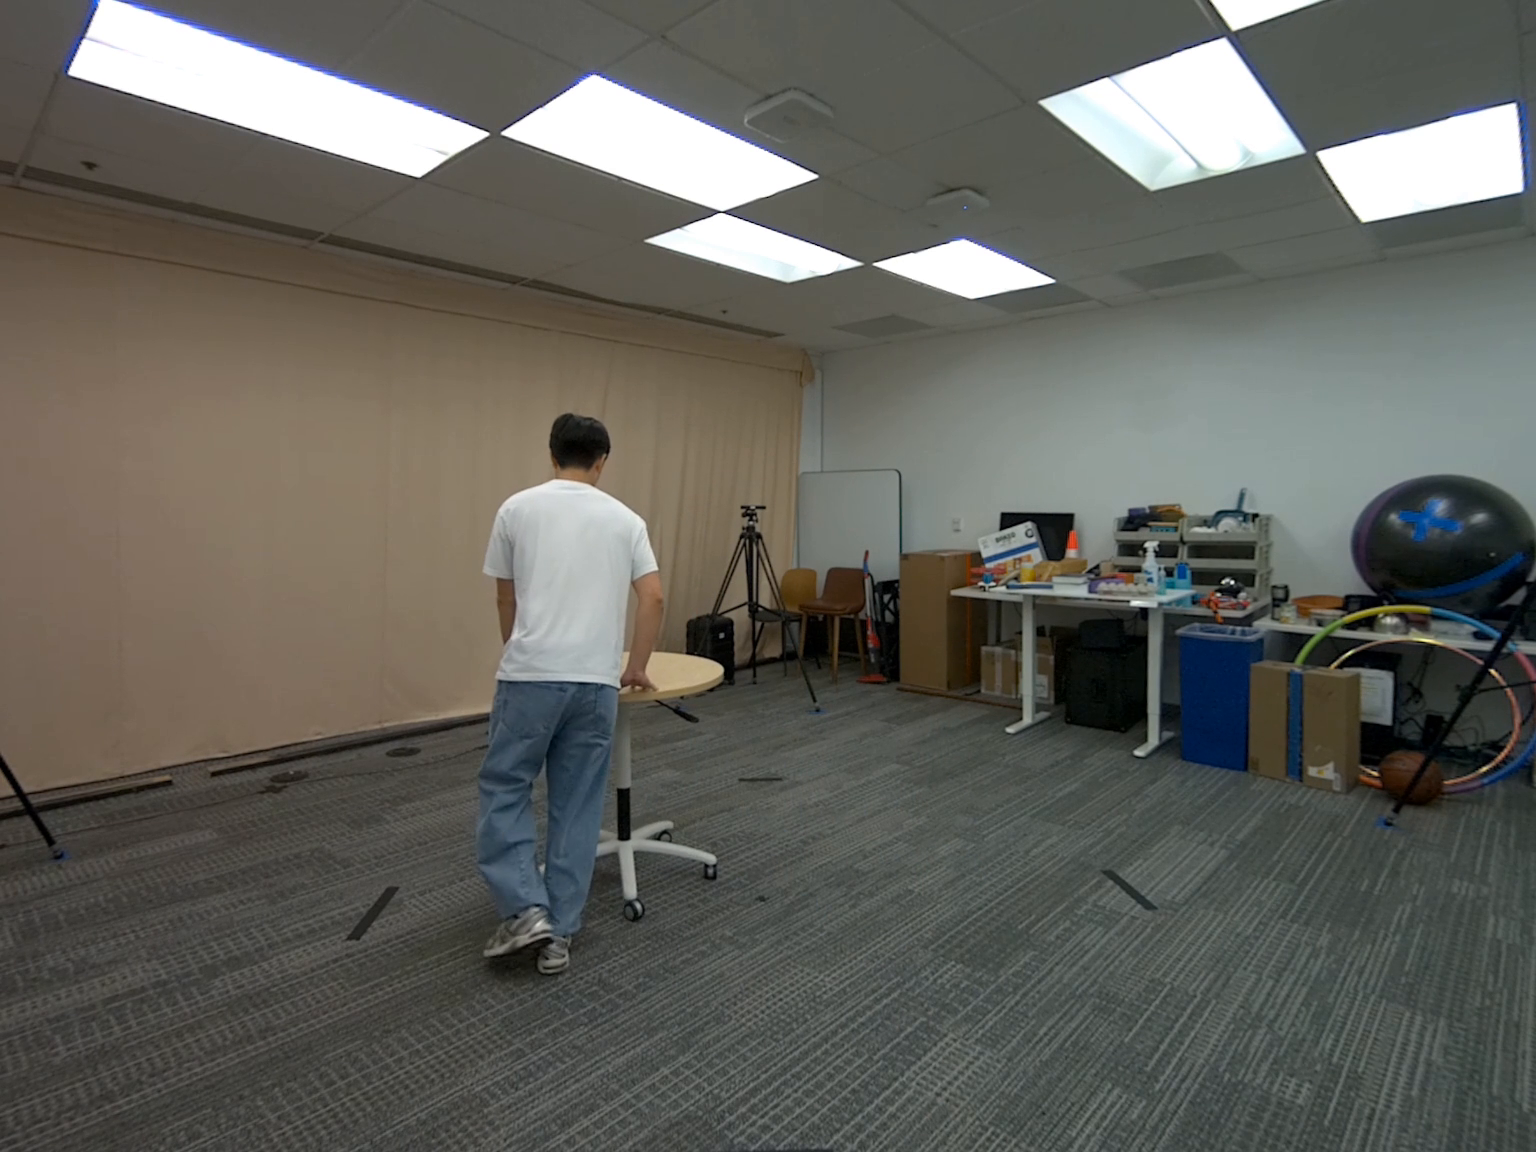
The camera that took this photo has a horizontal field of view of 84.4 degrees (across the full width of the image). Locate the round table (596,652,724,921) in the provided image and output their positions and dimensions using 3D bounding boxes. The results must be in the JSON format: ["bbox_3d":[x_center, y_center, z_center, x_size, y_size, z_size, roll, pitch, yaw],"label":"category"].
[{"bbox_3d":[-0.534,0.747,3.156,0.763,0.792,0.767,-1,4,-2],"label":"round table"}]
